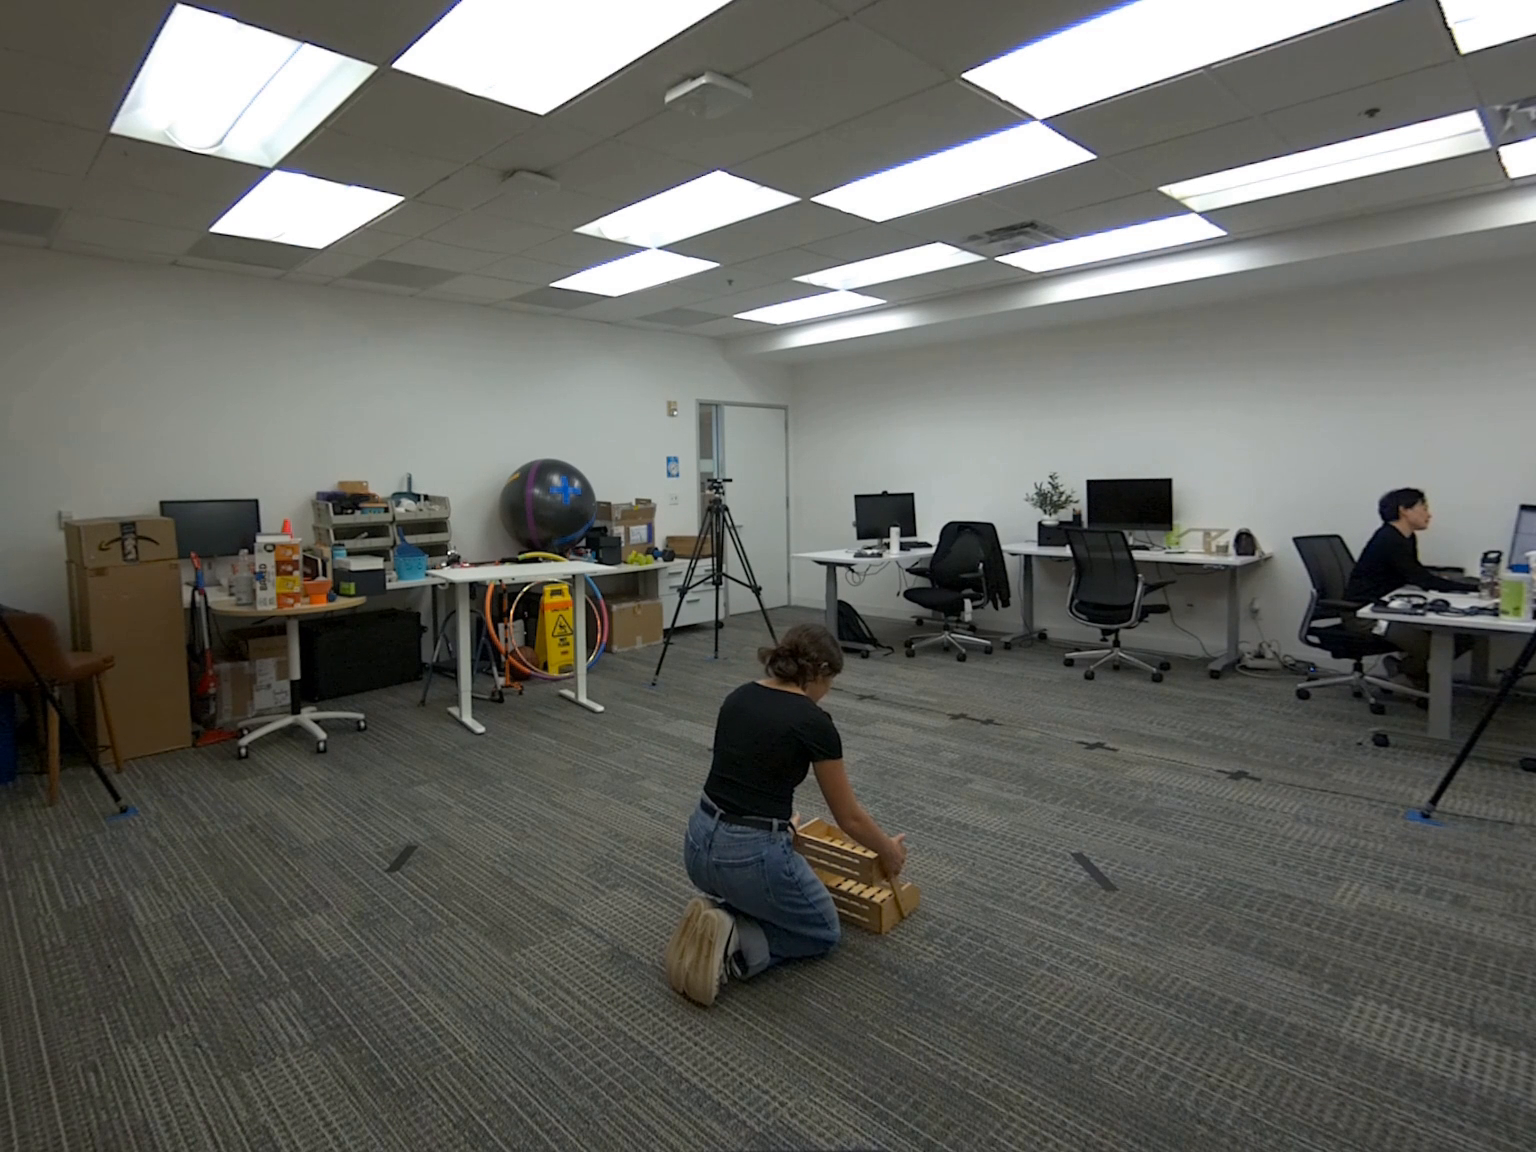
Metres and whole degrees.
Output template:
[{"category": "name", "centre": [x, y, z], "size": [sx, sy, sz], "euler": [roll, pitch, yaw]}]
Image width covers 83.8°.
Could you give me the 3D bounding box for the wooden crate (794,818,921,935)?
[{"category": "wooden crate", "centre": [0.297, 0.945, 2.773], "size": [0.334, 0.272, 0.294], "euler": [3, 7, 40]}]
